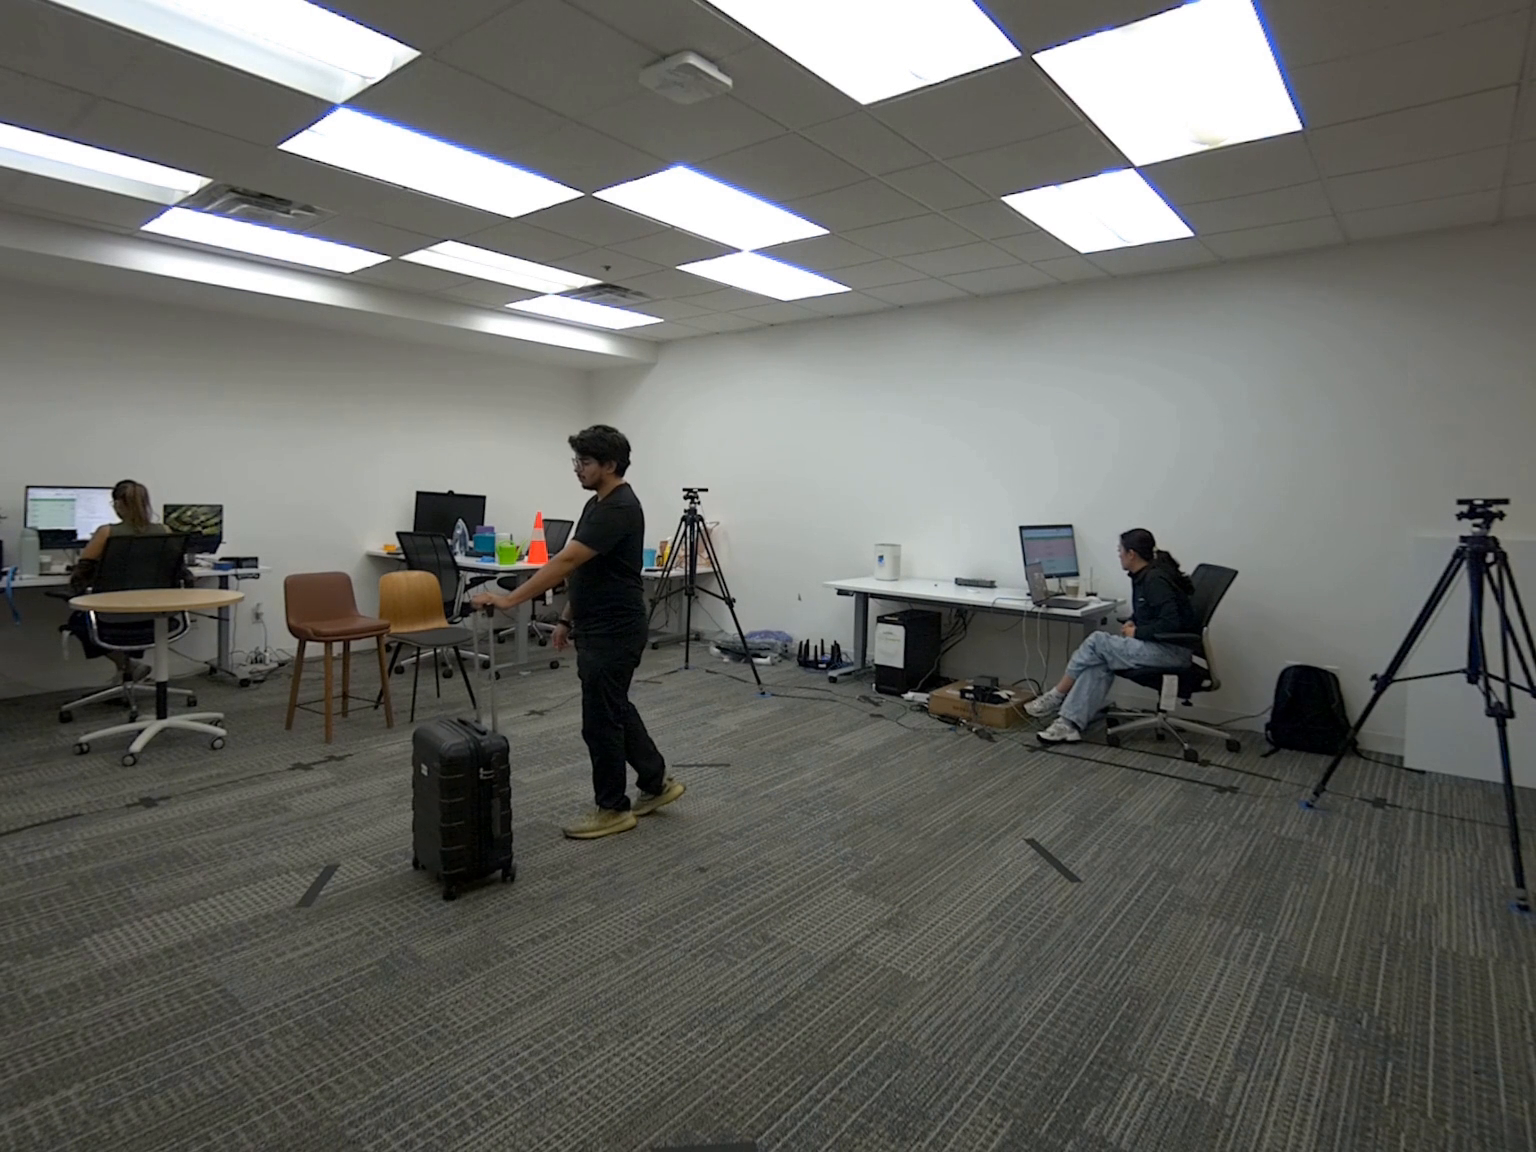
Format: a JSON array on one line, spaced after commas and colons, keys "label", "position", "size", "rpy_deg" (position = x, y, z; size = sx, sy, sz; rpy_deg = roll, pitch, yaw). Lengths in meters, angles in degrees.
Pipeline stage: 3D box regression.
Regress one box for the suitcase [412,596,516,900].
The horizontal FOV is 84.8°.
[{"label": "suitcase", "position": [-1.103, 0.593, 2.977], "size": [0.250, 0.973, 0.397], "rpy_deg": [-5, 7, -37]}]
